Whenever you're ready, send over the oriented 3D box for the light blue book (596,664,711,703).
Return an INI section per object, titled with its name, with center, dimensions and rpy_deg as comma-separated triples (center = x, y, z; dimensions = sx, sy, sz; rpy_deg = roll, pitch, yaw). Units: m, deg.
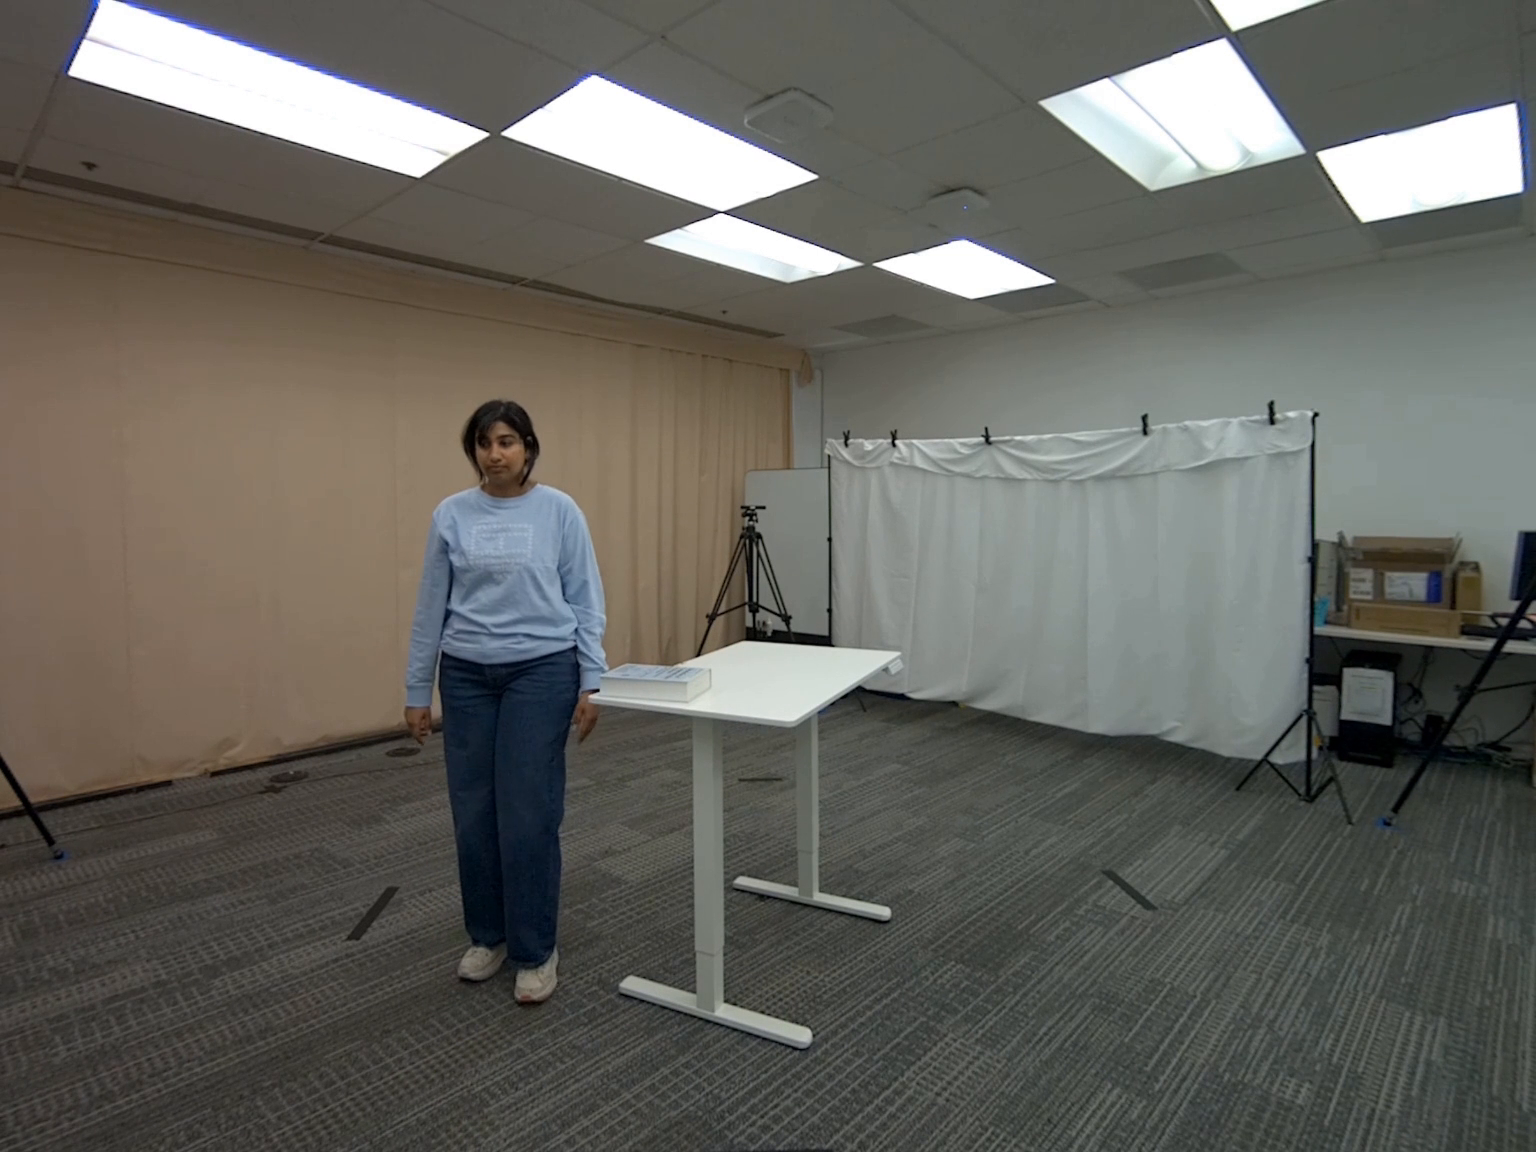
[light blue book]
center = -0.304, 0.296, 2.298
dimensions = 0.266, 0.059, 0.188
rpy_deg = 1, 5, 18
